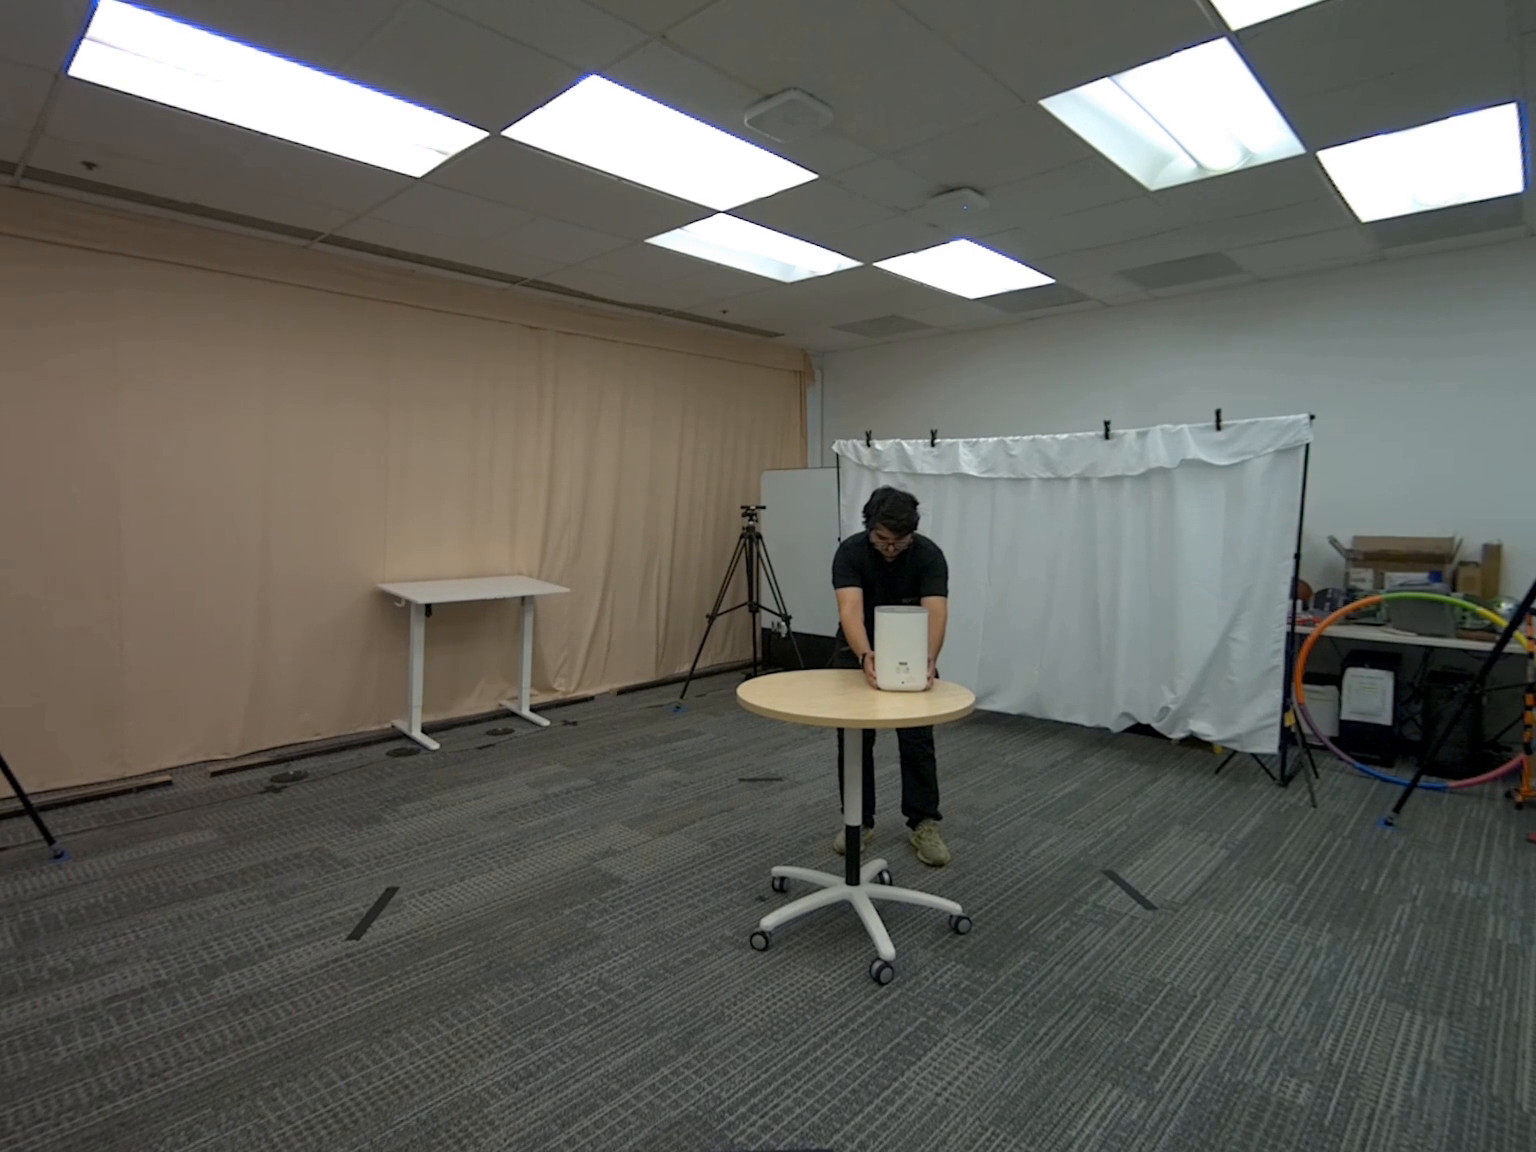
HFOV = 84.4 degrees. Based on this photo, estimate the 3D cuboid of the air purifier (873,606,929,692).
[{"bbox_3d":[0.444,0.239,2.808,0.173,0.265,0.170,1,4,8],"label":"air purifier"}]
